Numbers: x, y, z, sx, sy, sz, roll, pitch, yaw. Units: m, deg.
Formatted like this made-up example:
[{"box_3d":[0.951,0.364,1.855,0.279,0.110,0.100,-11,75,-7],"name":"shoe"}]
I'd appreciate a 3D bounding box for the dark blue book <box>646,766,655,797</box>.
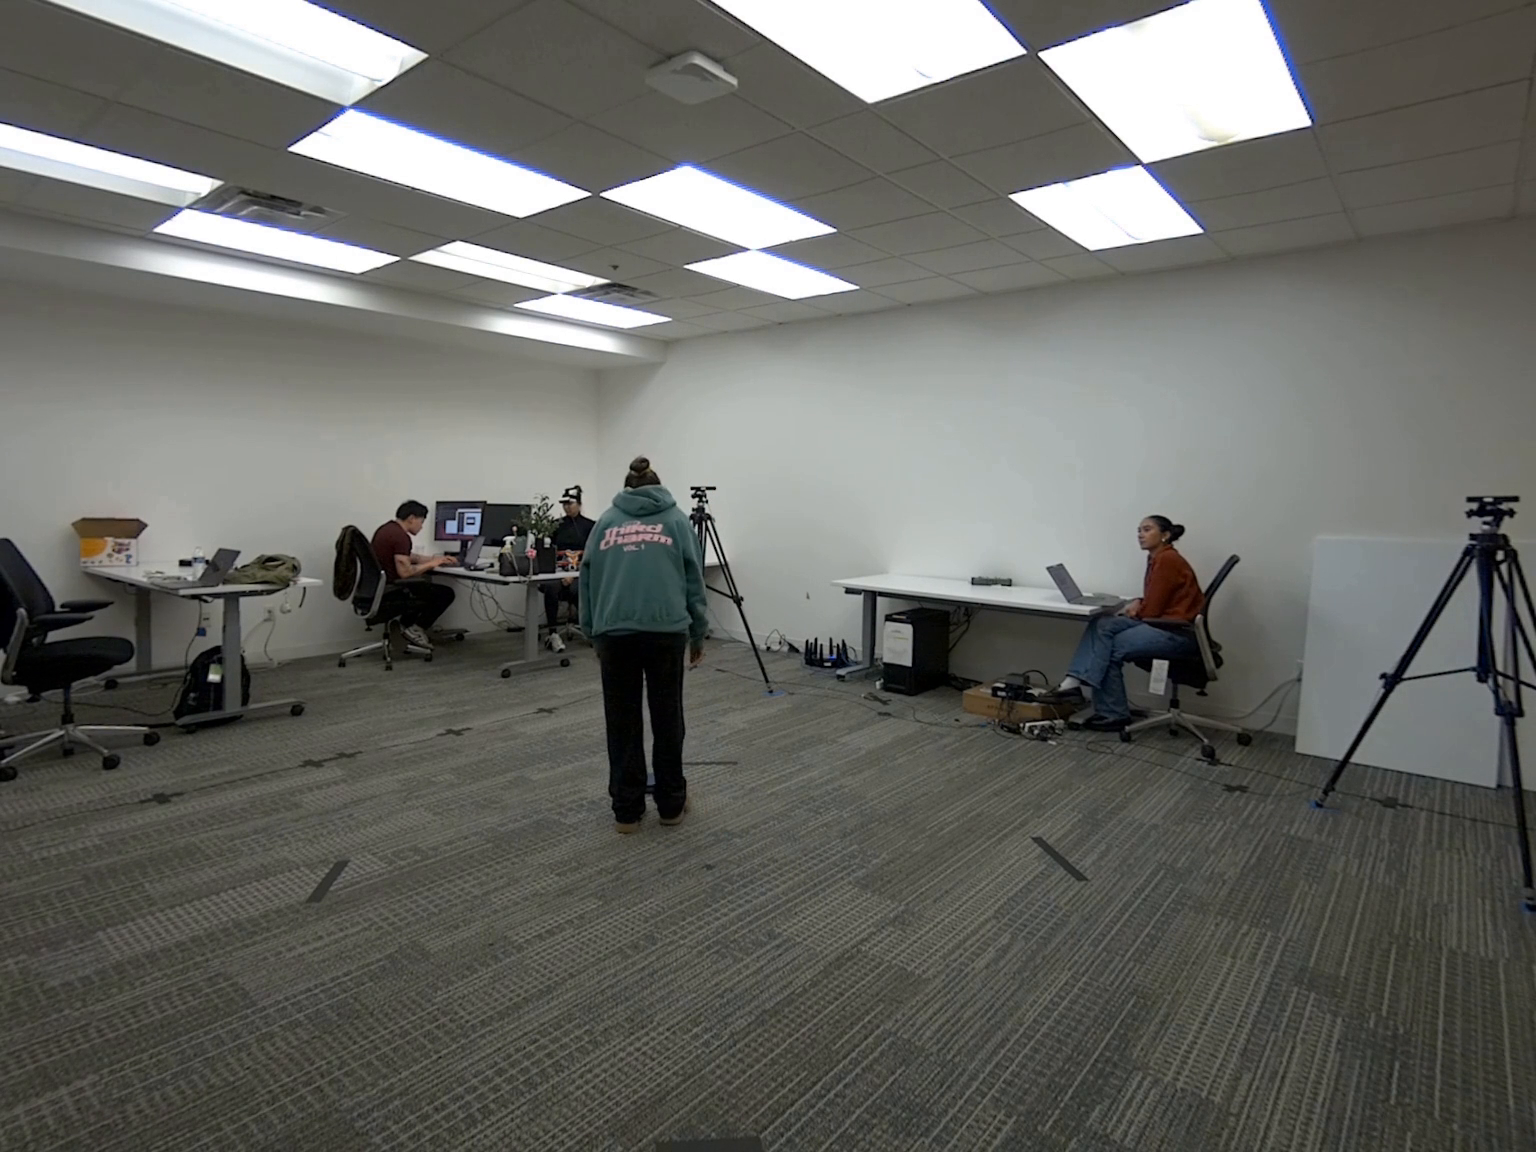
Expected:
[{"box_3d":[-0.548,0.946,3.927,0.241,0.045,0.167,-1,6,-16],"name":"dark blue book"}]
